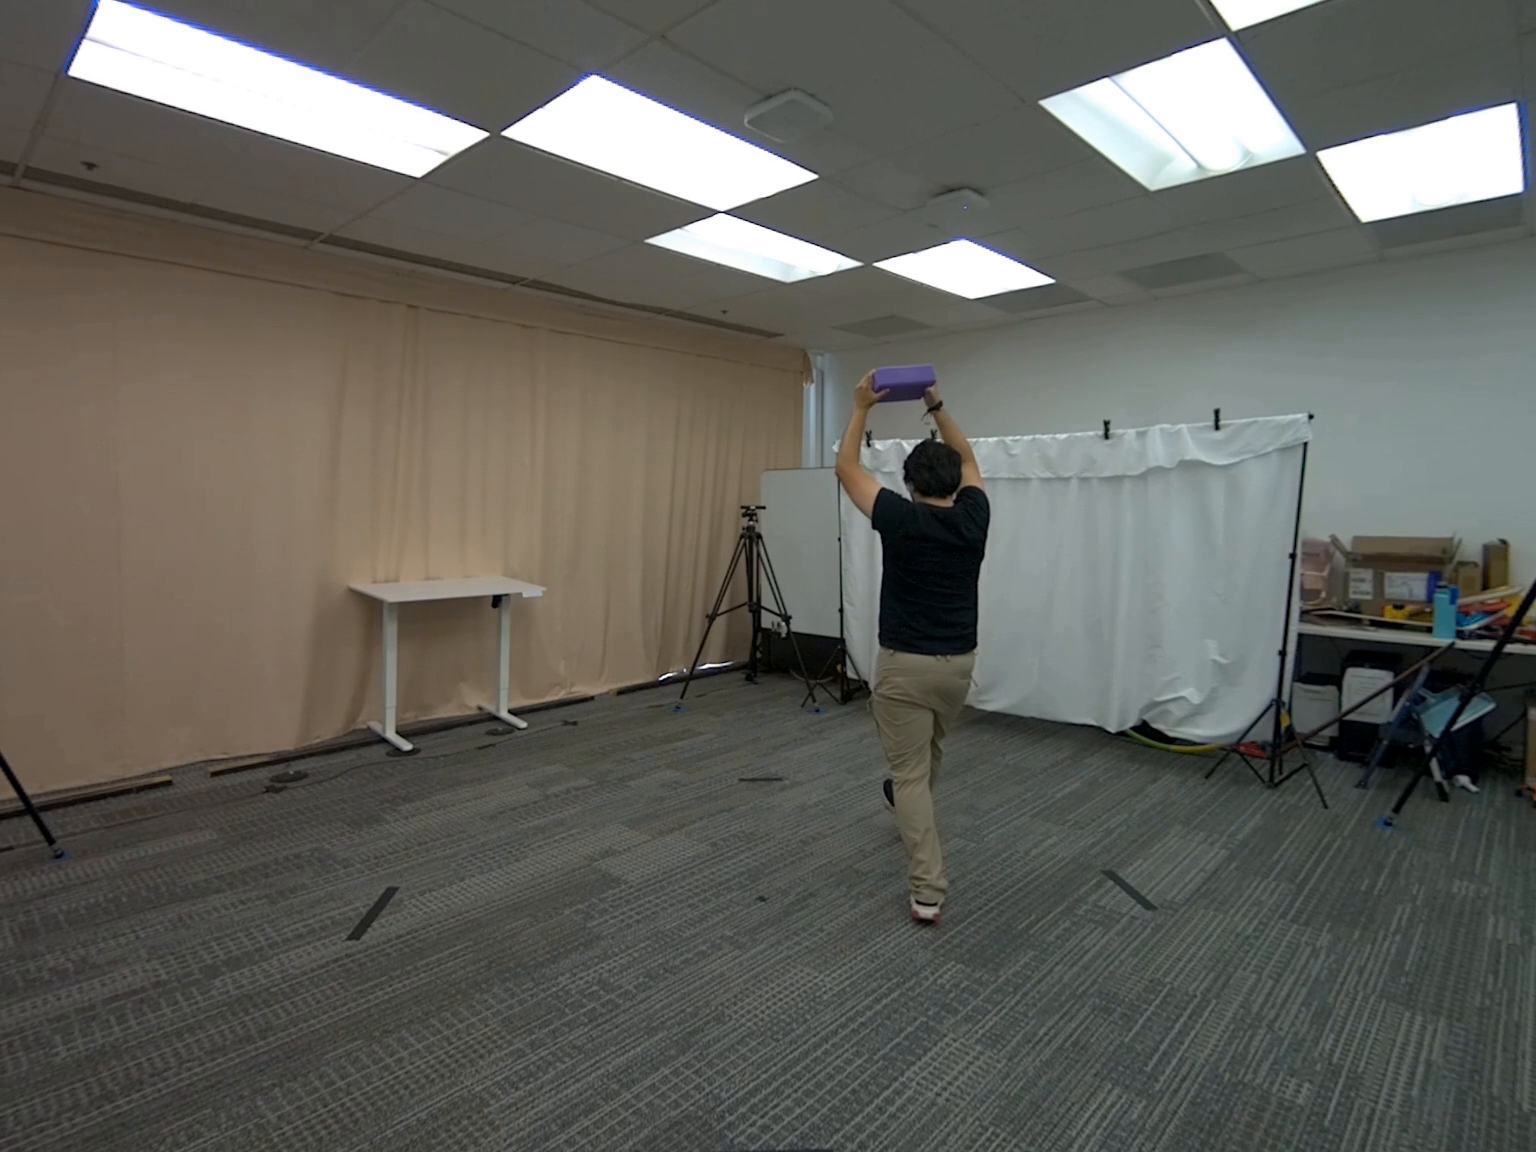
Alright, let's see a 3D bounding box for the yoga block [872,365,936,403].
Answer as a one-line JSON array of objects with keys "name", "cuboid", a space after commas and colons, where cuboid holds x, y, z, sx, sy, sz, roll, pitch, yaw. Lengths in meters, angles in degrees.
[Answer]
[{"name": "yoga block", "cuboid": [0.494, -0.714, 3.108, 0.227, 0.077, 0.149, -7, -14, -11]}]
